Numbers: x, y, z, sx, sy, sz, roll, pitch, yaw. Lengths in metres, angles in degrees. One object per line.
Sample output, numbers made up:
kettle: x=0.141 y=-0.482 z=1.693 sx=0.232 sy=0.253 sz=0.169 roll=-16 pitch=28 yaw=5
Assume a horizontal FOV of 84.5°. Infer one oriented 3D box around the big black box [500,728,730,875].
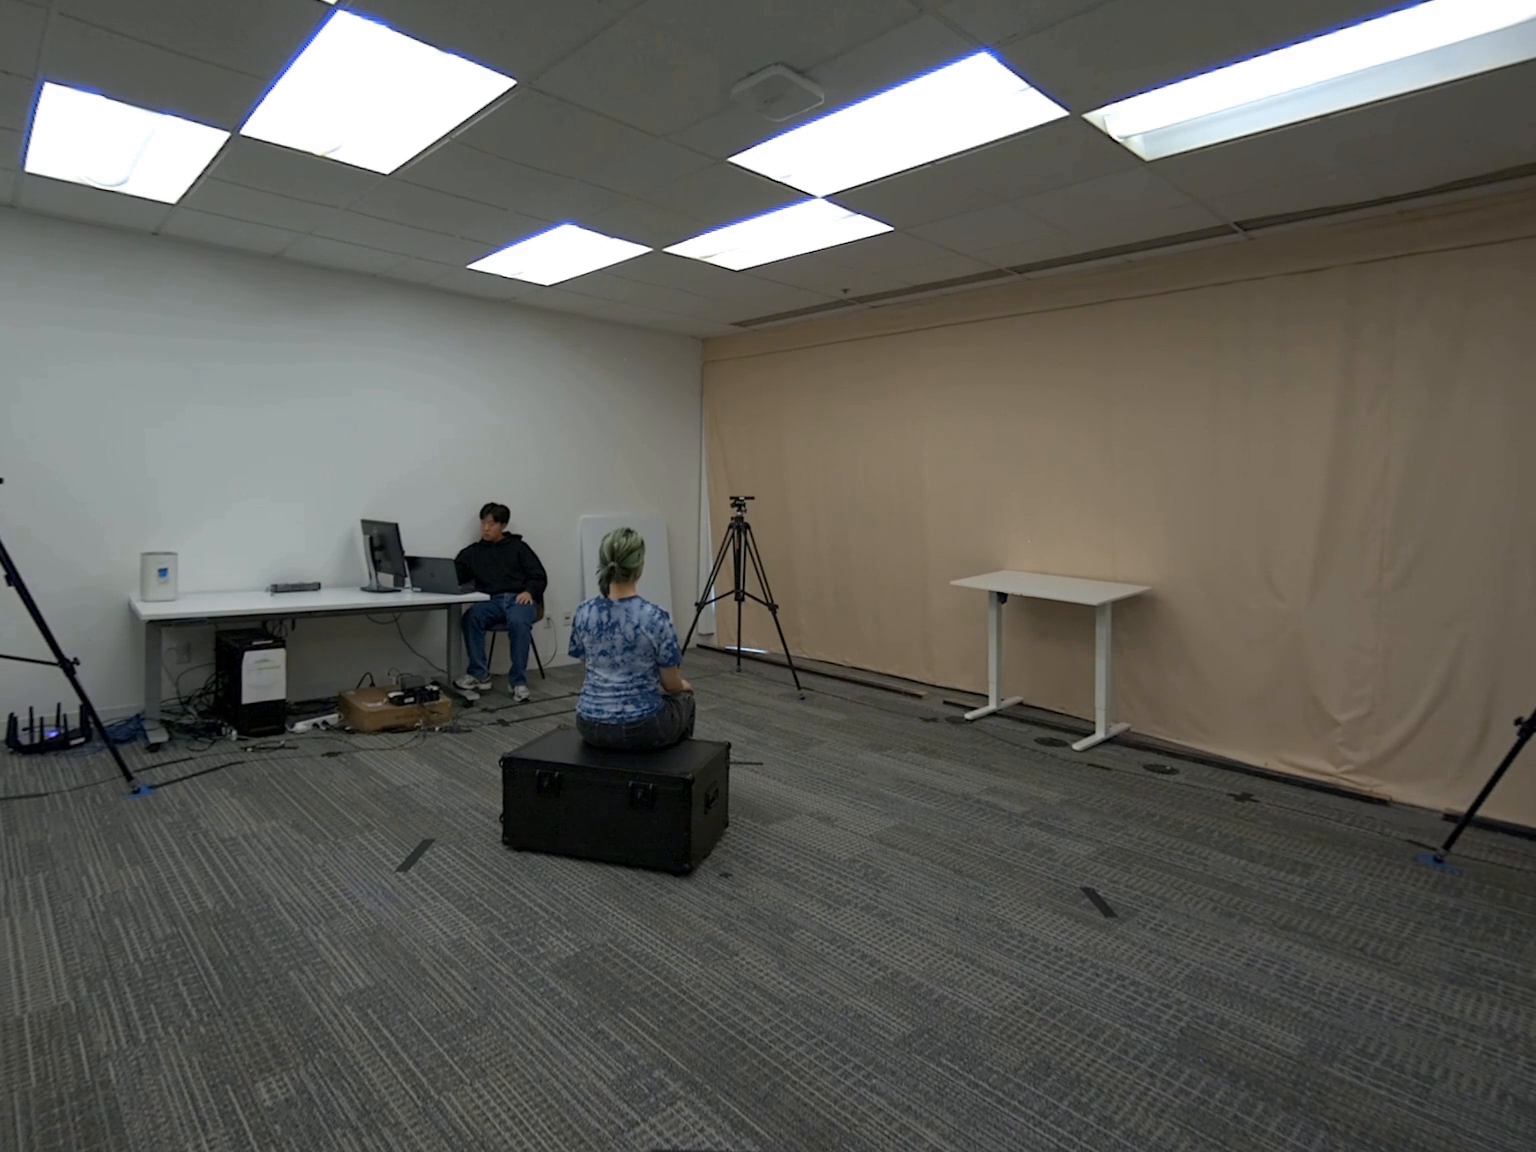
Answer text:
big black box: x=-0.633 y=0.878 z=3.389 sx=0.872 sy=0.395 sz=0.516 roll=3 pitch=5 yaw=15
